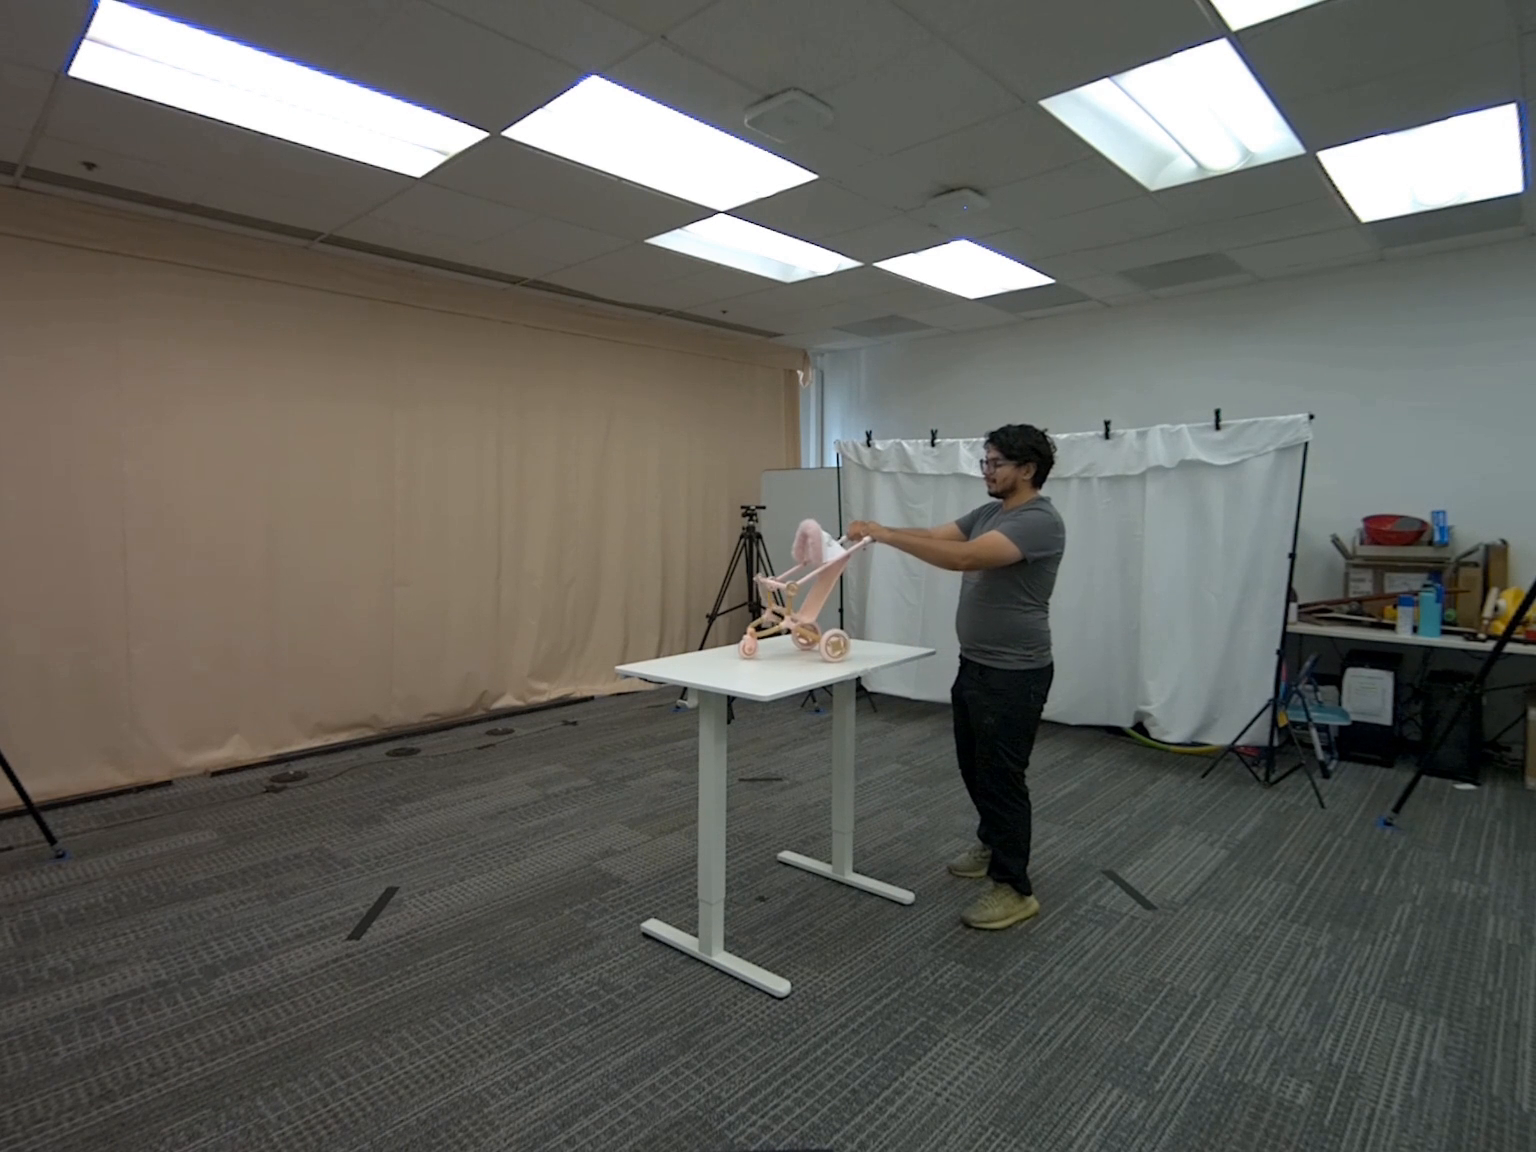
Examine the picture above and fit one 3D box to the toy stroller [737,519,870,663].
[{"bbox_3d":[0.124,0.052,2.833,0.336,0.535,0.285,15,-1,-13],"label":"toy stroller"}]
